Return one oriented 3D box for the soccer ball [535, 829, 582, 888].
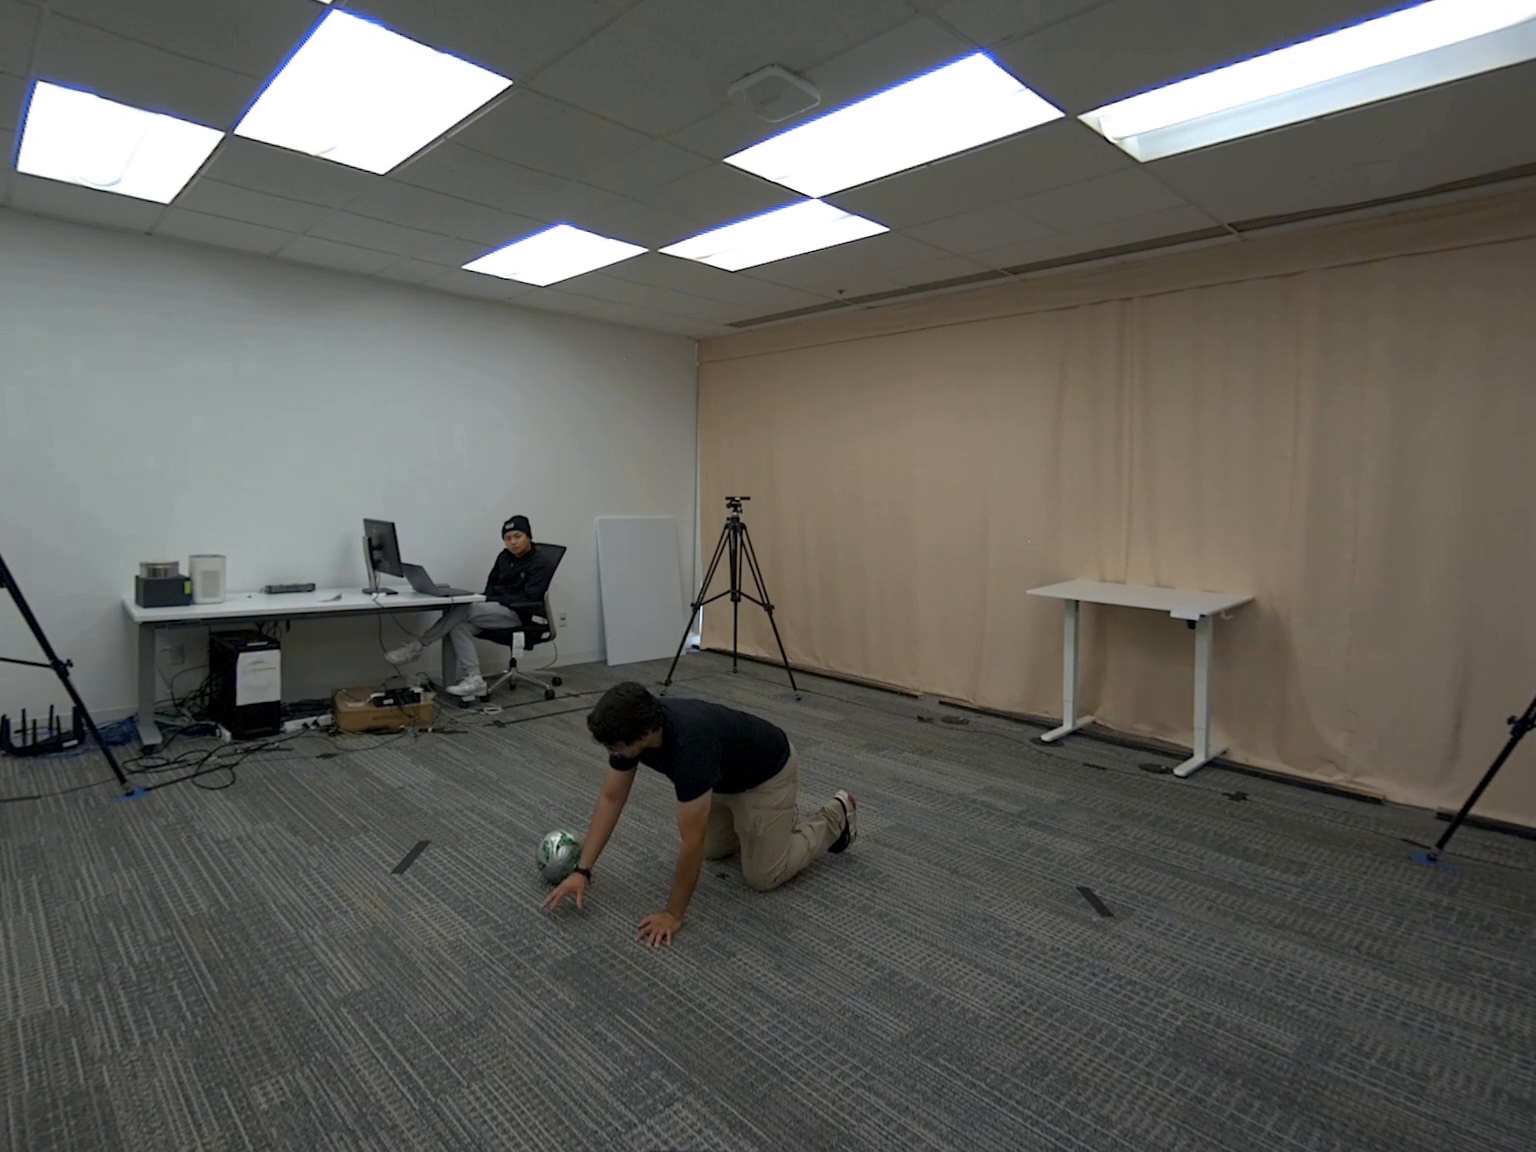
[{"bbox_3d":[-0.737,1.003,3.029,0.187,0.187,0.188,1,4,-1],"label":"soccer ball"}]
